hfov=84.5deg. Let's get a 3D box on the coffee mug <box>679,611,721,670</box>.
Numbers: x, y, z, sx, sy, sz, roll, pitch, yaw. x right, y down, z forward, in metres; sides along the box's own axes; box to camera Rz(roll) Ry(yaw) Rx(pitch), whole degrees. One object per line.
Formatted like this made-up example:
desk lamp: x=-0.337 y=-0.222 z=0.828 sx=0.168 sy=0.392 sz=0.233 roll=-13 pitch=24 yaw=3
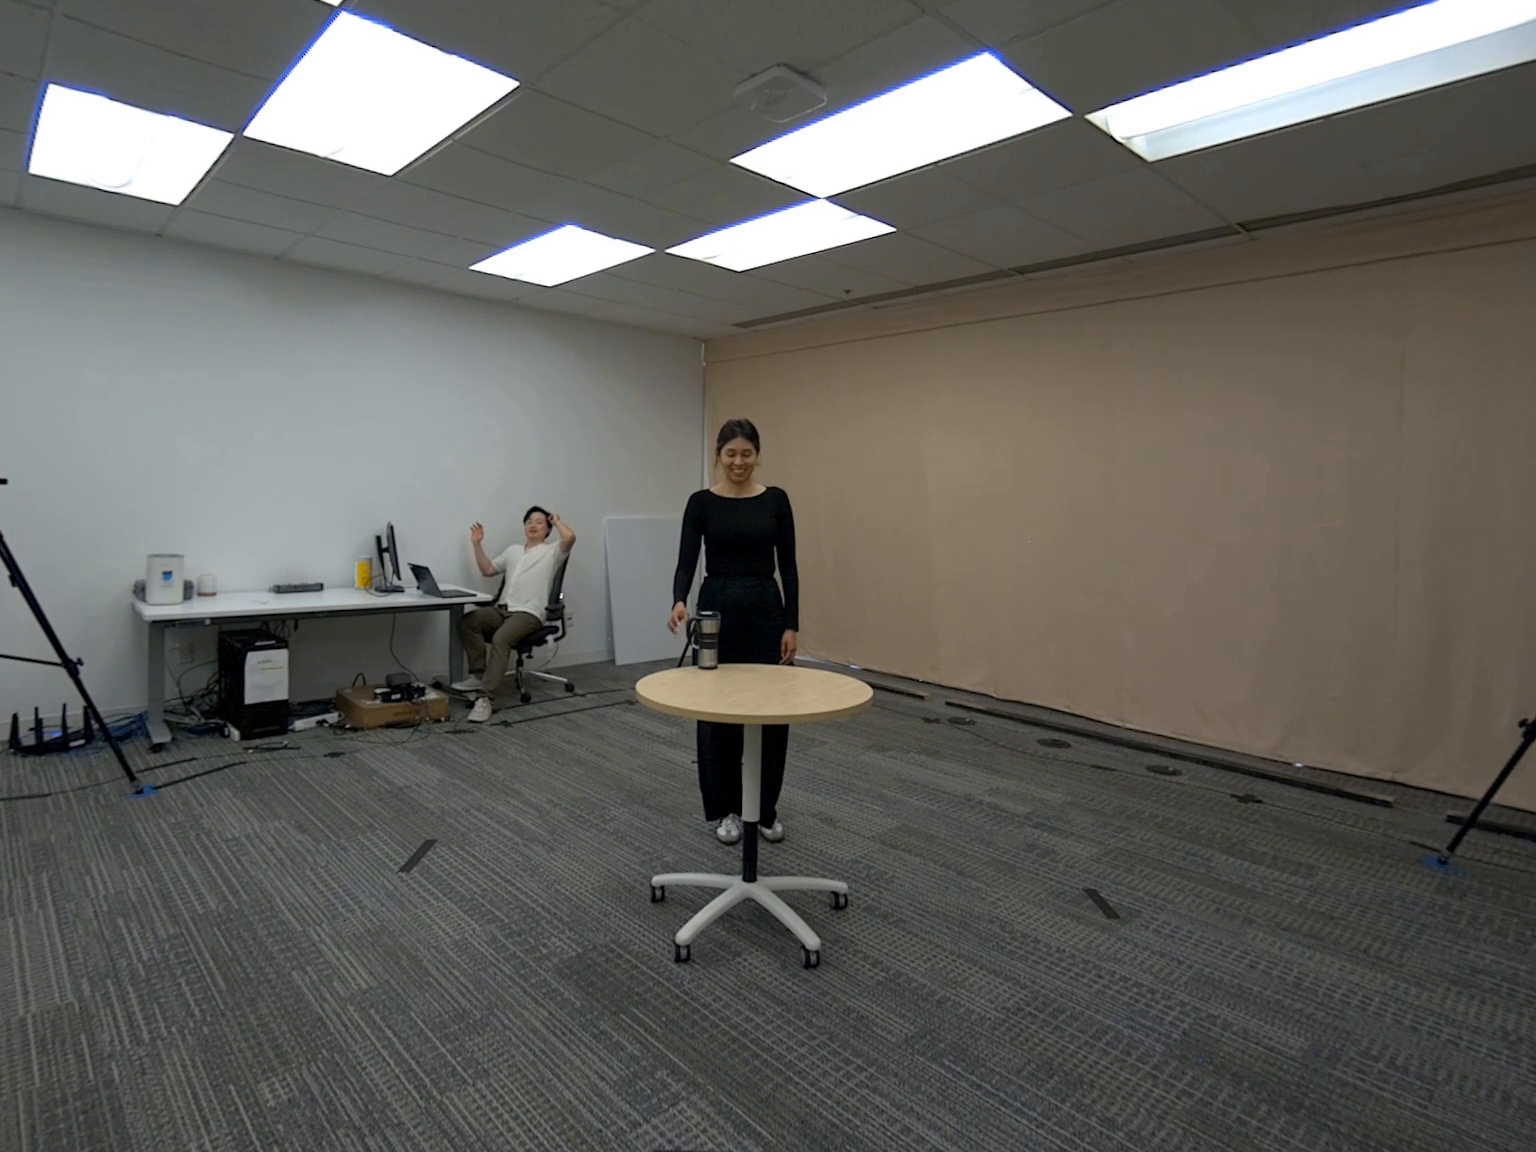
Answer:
coffee mug: x=-0.243 y=0.231 z=3.031 sx=0.125 sy=0.202 sz=0.086 roll=8 pitch=7 yaw=32
